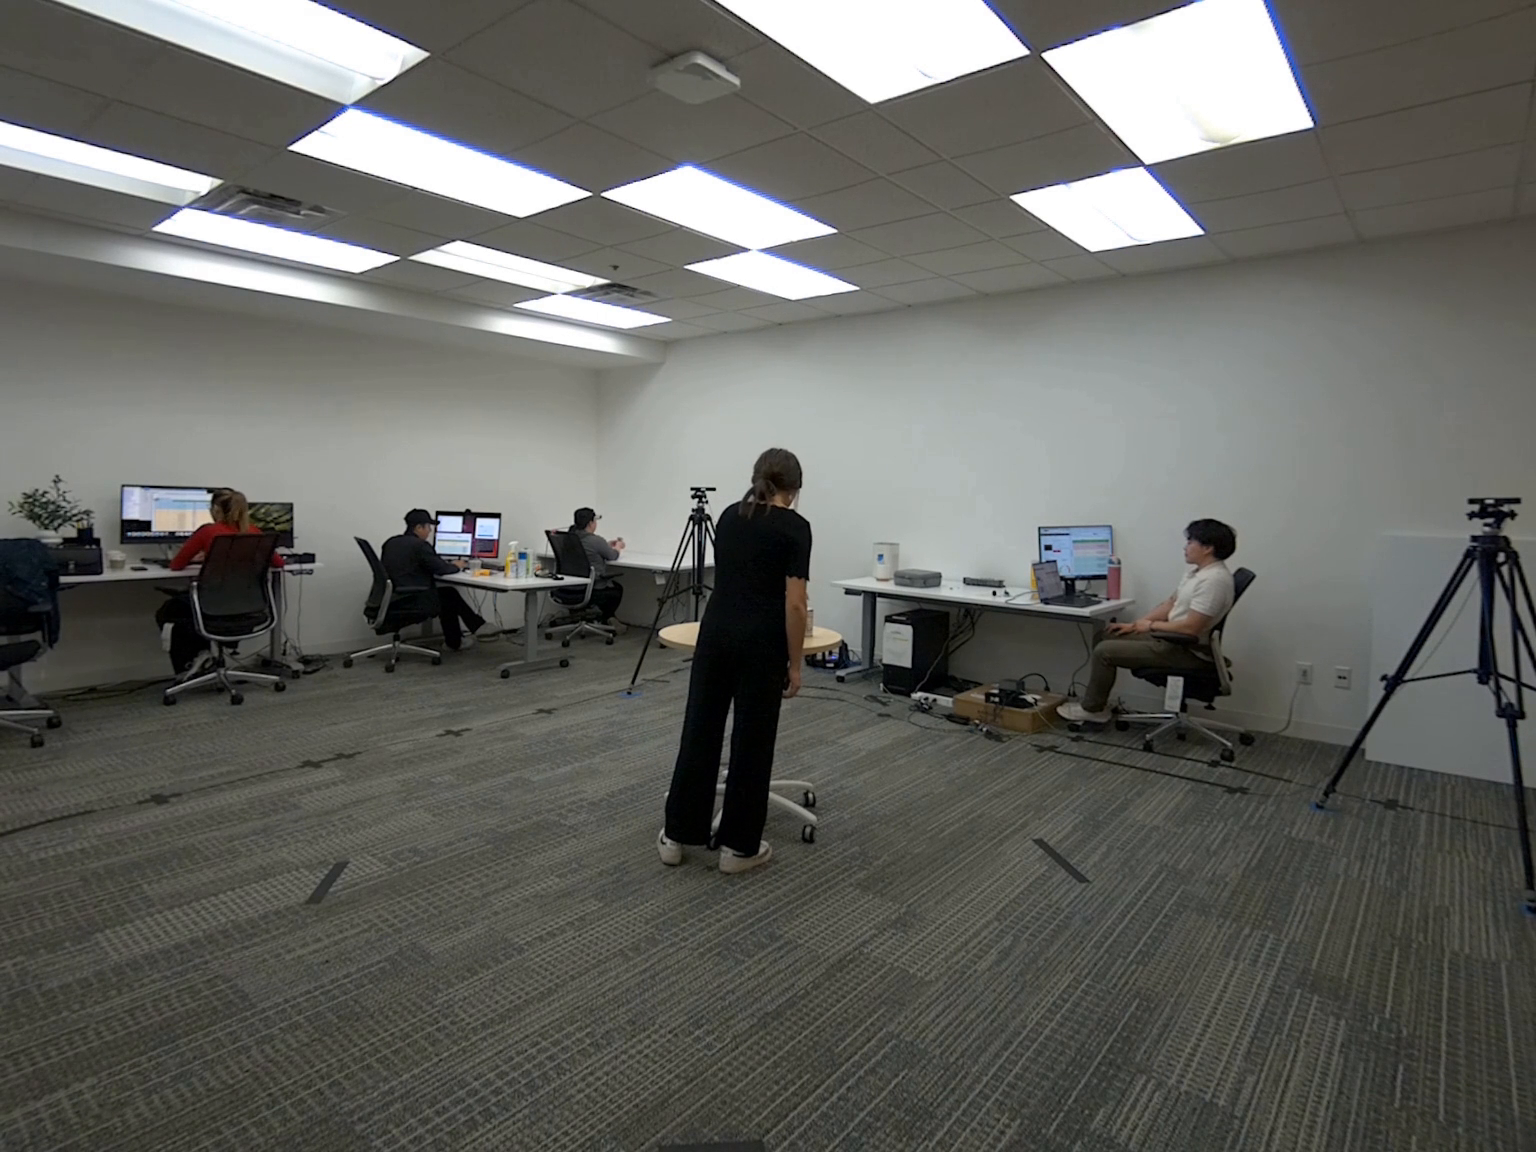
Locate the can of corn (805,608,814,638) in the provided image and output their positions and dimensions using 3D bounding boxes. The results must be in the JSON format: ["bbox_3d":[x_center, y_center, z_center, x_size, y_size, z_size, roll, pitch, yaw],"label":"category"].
[{"bbox_3d":[0.145,0.193,3.523,0.074,0.110,0.075,2,5,-2],"label":"can of corn"}]
